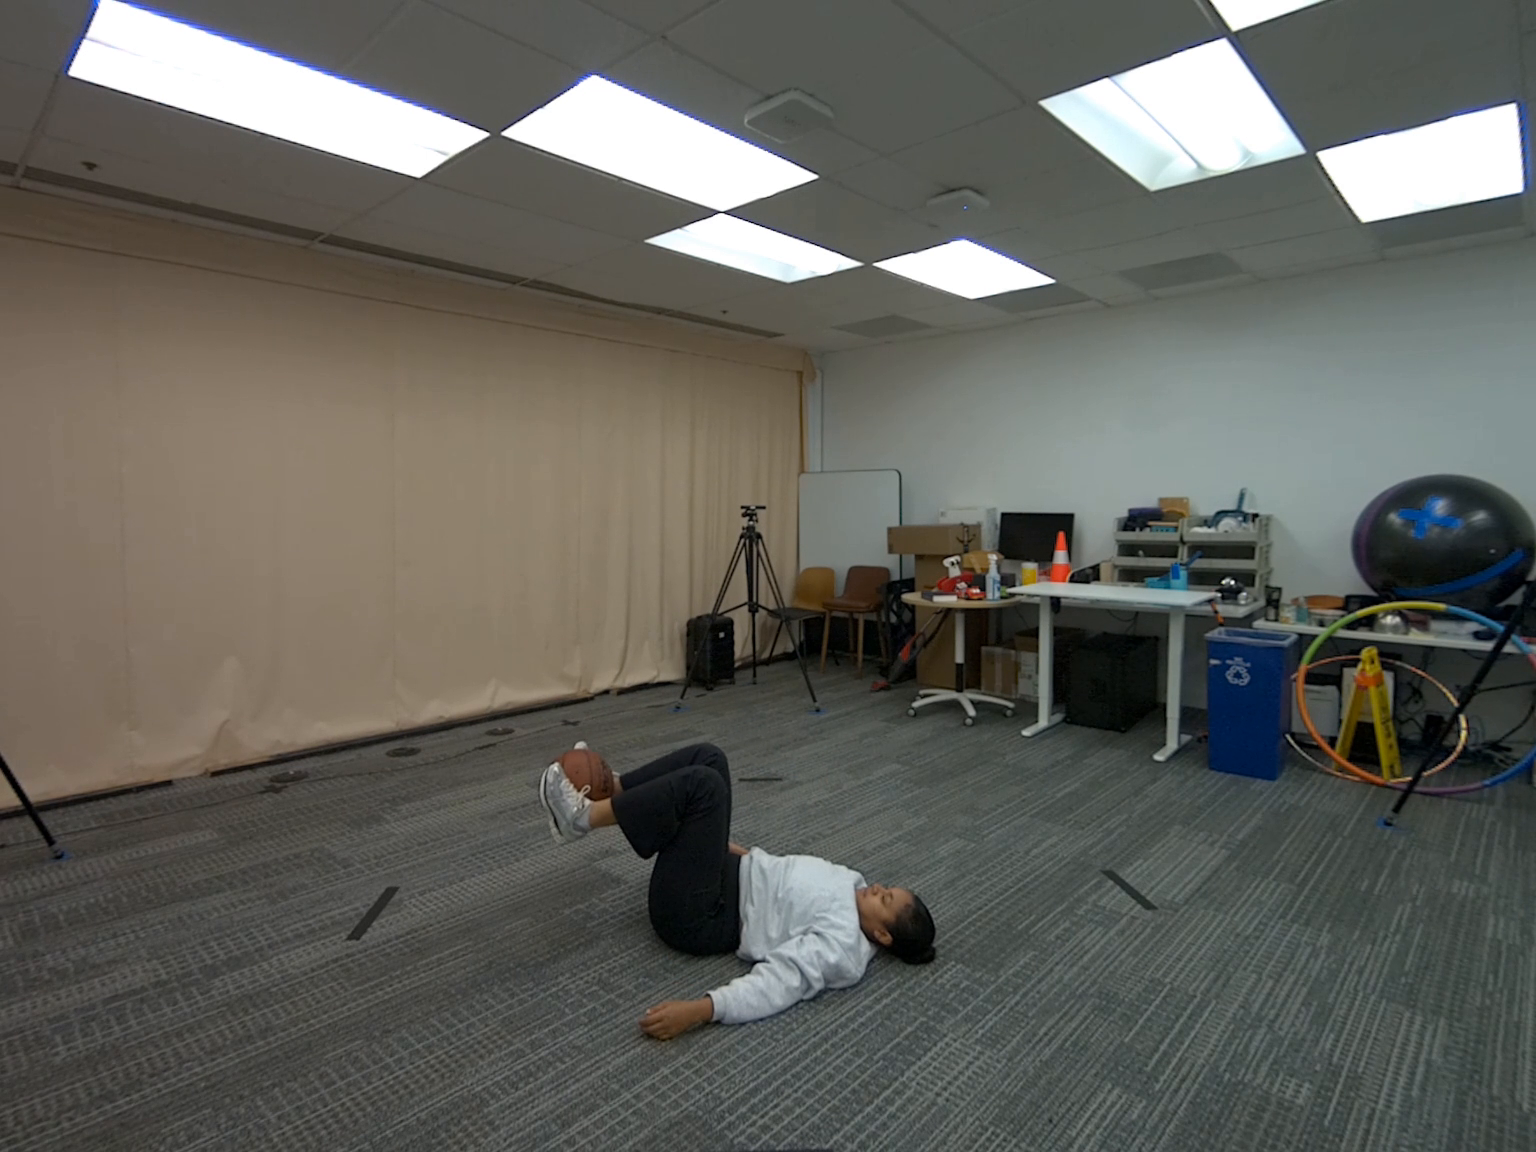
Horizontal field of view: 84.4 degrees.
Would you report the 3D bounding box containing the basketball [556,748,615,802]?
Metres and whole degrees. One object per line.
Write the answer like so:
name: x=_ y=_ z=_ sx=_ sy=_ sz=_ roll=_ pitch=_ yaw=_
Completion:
basketball: x=-0.627 y=0.689 z=2.799 sx=0.236 sy=0.236 sz=0.236 roll=2 pitch=0 yaw=-2
